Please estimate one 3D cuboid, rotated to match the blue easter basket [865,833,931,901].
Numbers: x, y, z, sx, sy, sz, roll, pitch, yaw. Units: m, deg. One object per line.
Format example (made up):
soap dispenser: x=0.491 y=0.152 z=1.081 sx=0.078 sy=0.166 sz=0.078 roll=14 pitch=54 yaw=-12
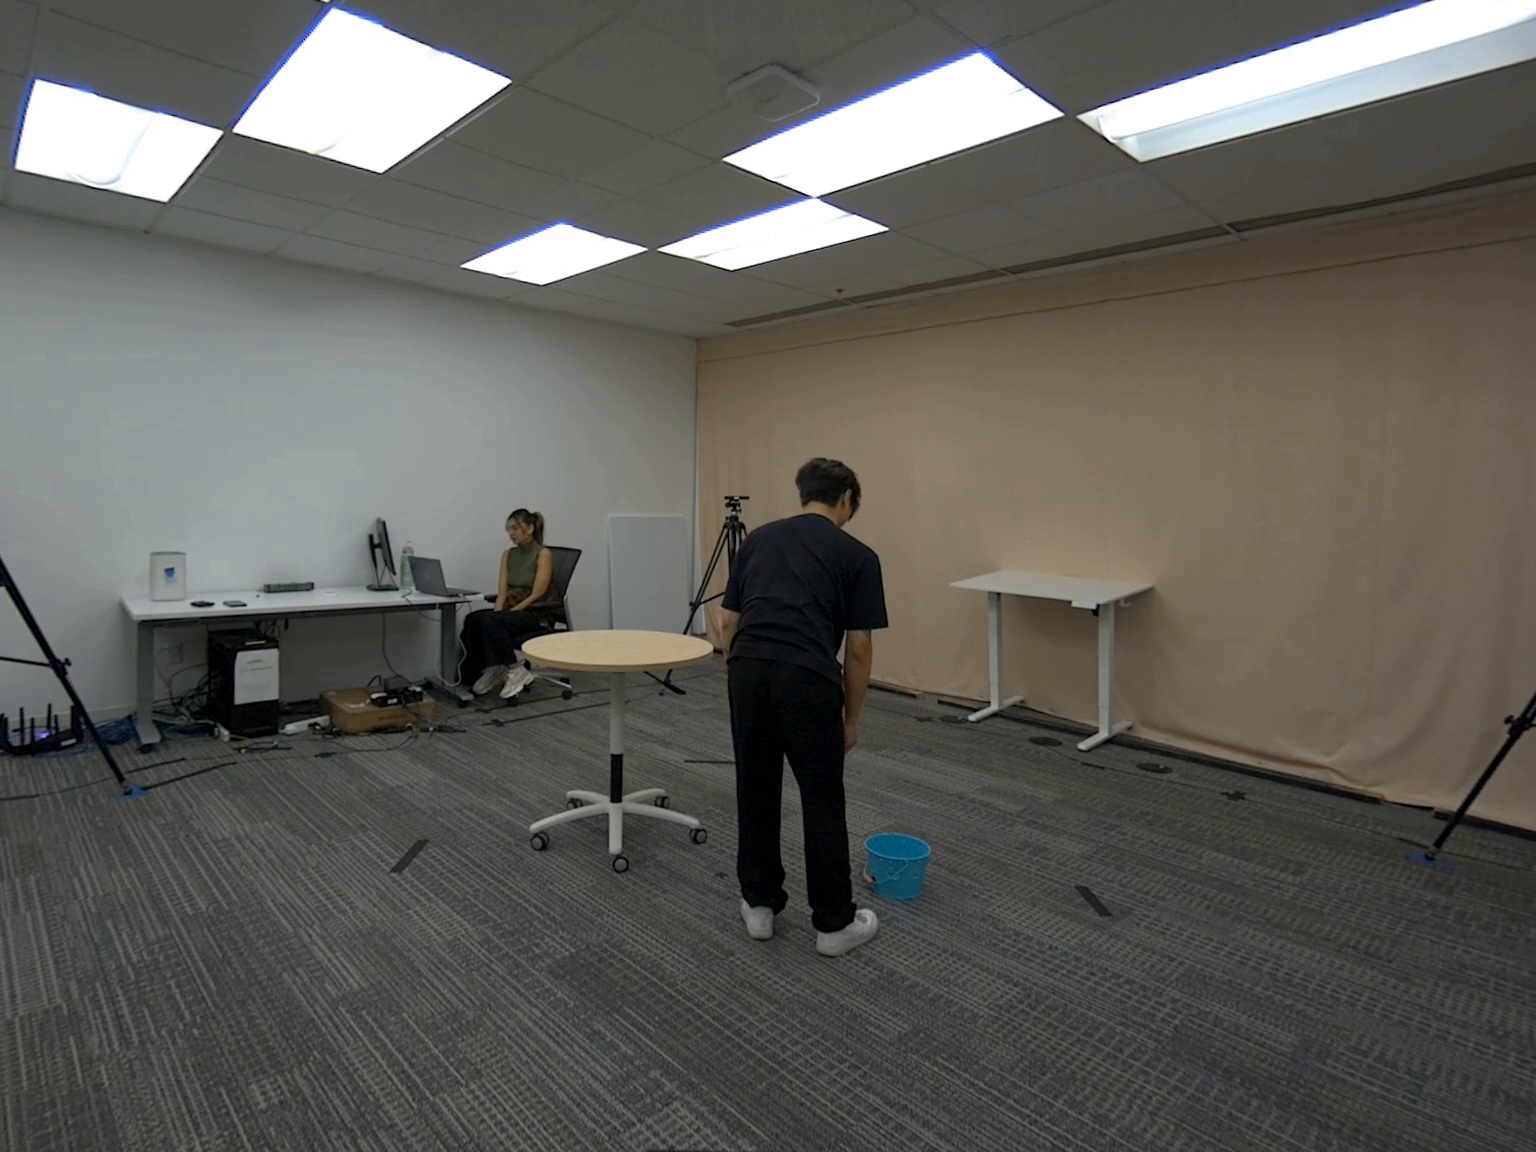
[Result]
blue easter basket: x=0.454 y=1.044 z=3.036 sx=0.243 sy=0.155 sz=0.244 roll=1 pitch=5 yaw=-1
